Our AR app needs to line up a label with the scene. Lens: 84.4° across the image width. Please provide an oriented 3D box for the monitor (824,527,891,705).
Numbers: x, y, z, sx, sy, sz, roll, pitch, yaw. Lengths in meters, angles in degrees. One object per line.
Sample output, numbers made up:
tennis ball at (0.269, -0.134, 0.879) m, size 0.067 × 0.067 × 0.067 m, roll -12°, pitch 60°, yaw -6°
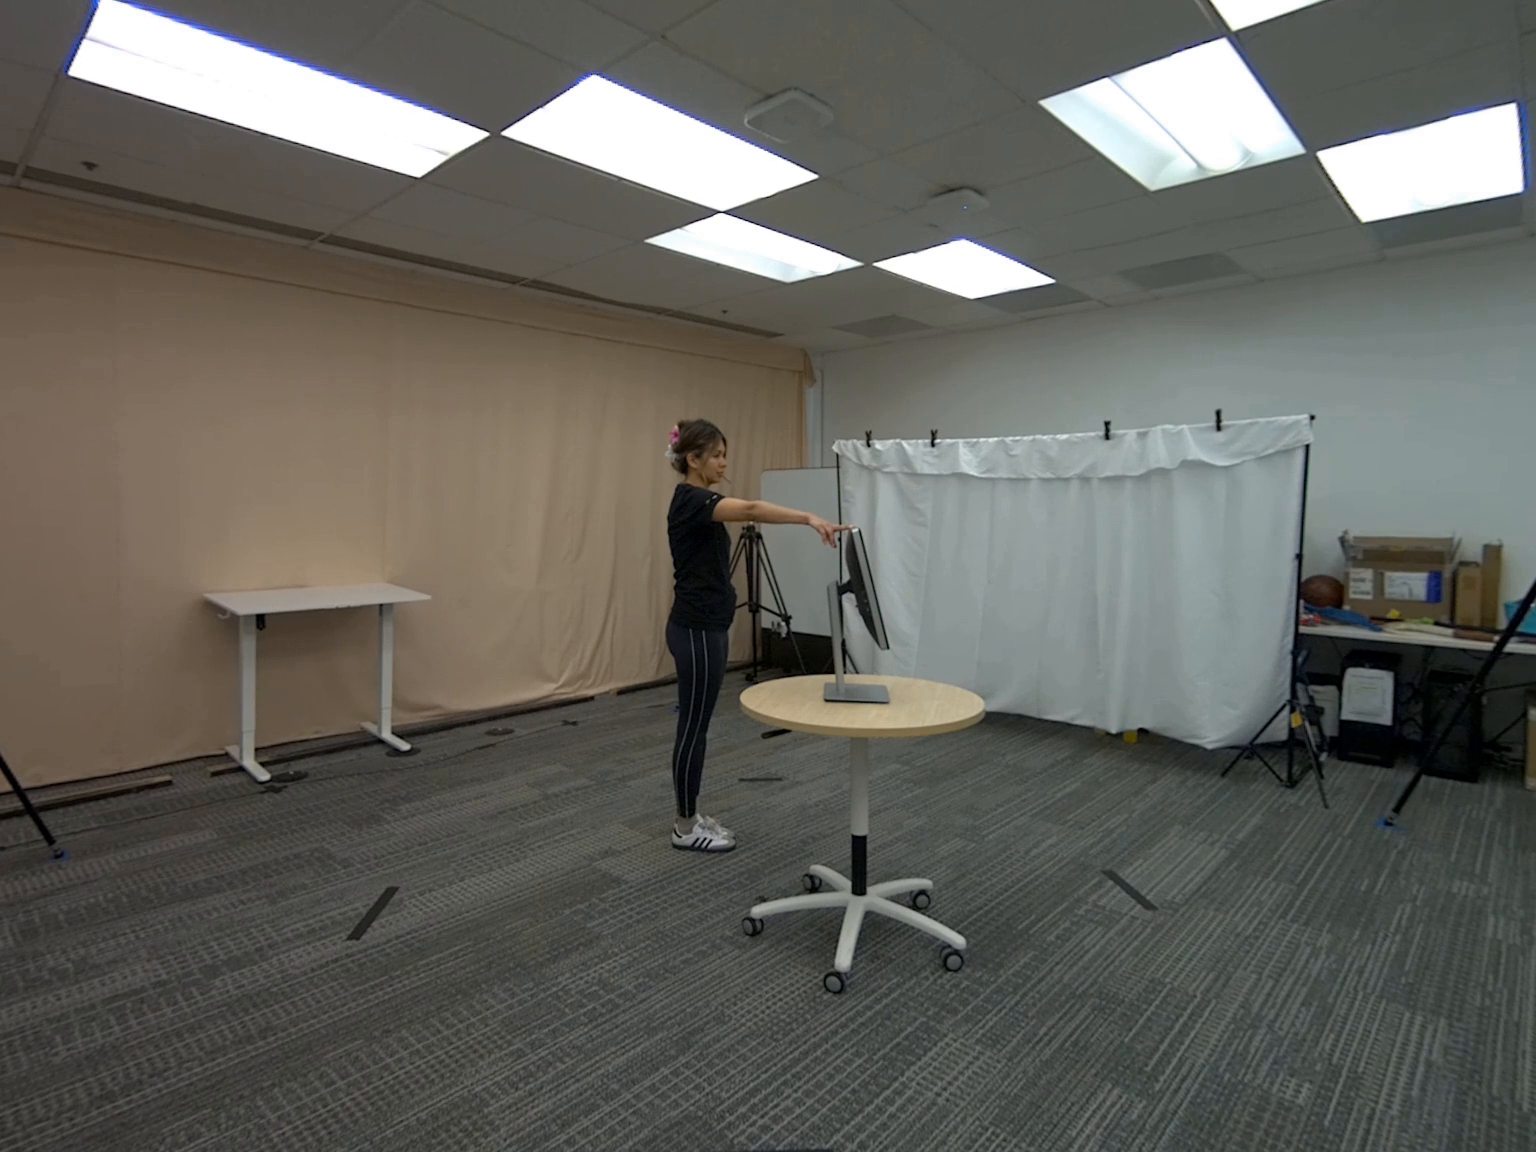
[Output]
monitor at (0.284, 0.124, 2.724) m, size 0.188 × 0.522 × 0.537 m, roll 0°, pitch 3°, yaw 3°
